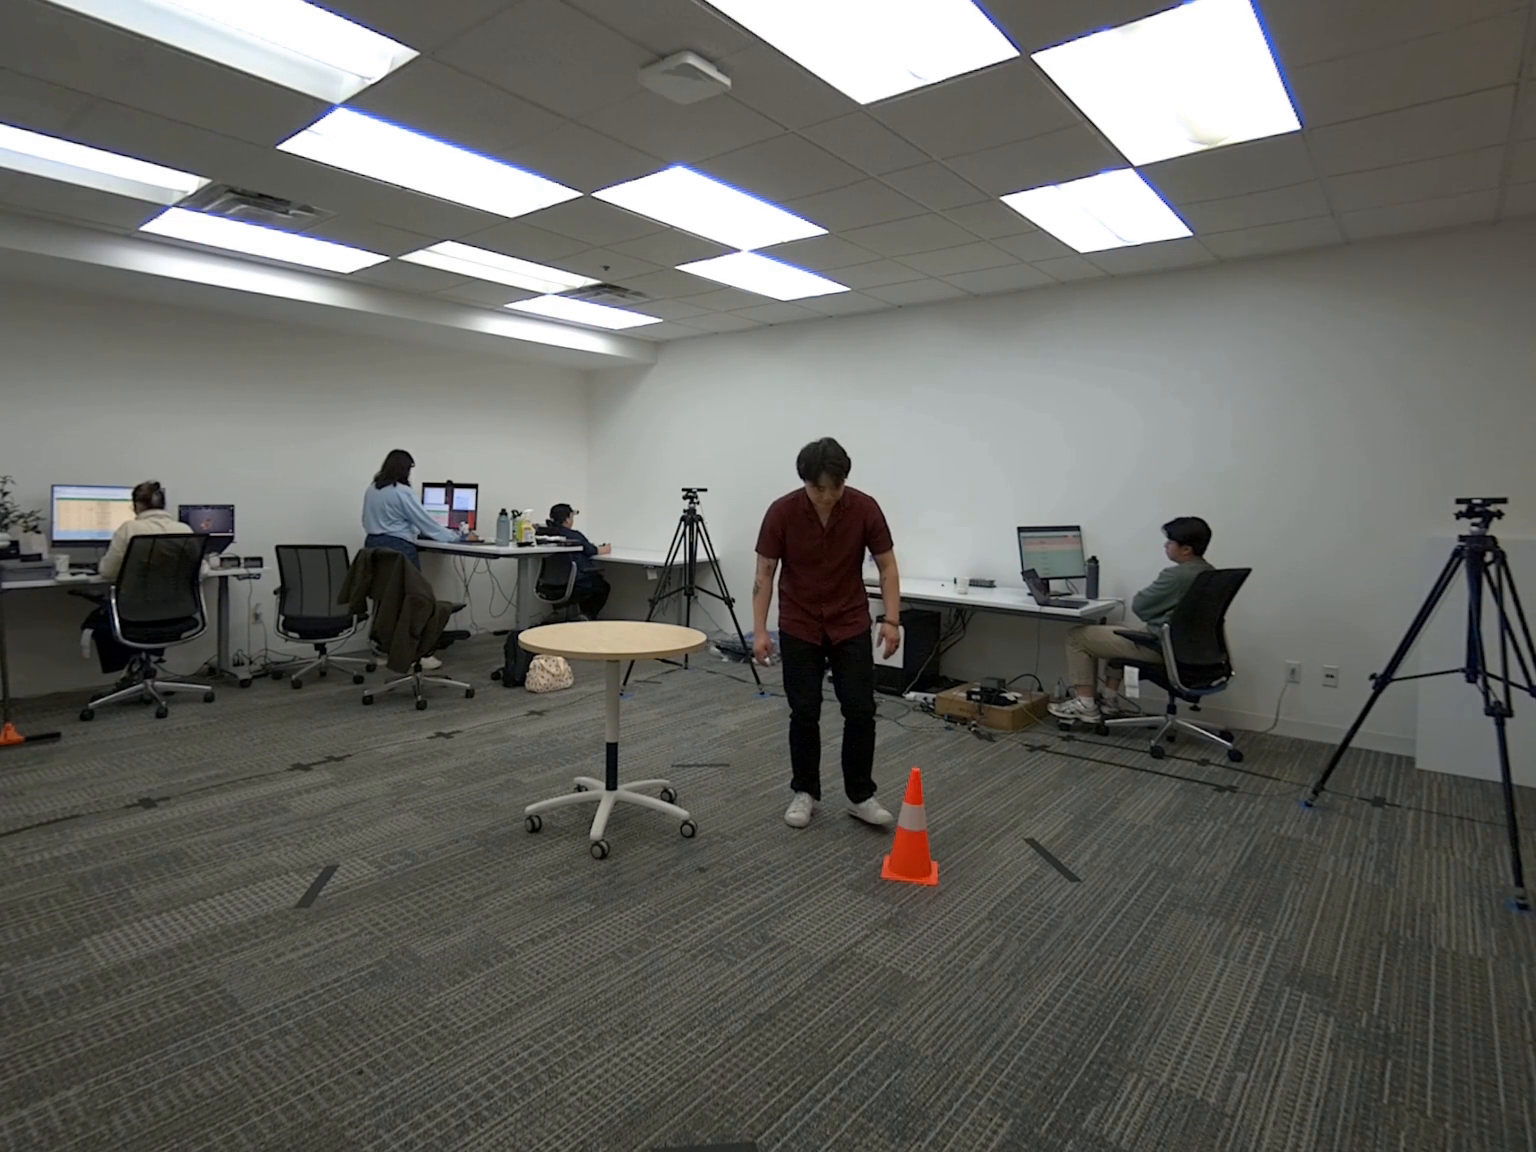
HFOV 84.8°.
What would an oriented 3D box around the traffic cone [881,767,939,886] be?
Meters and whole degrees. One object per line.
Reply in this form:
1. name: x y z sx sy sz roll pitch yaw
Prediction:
1. traffic cone: 0.528 0.895 3.140 0.207 0.382 0.202 4 4 15
